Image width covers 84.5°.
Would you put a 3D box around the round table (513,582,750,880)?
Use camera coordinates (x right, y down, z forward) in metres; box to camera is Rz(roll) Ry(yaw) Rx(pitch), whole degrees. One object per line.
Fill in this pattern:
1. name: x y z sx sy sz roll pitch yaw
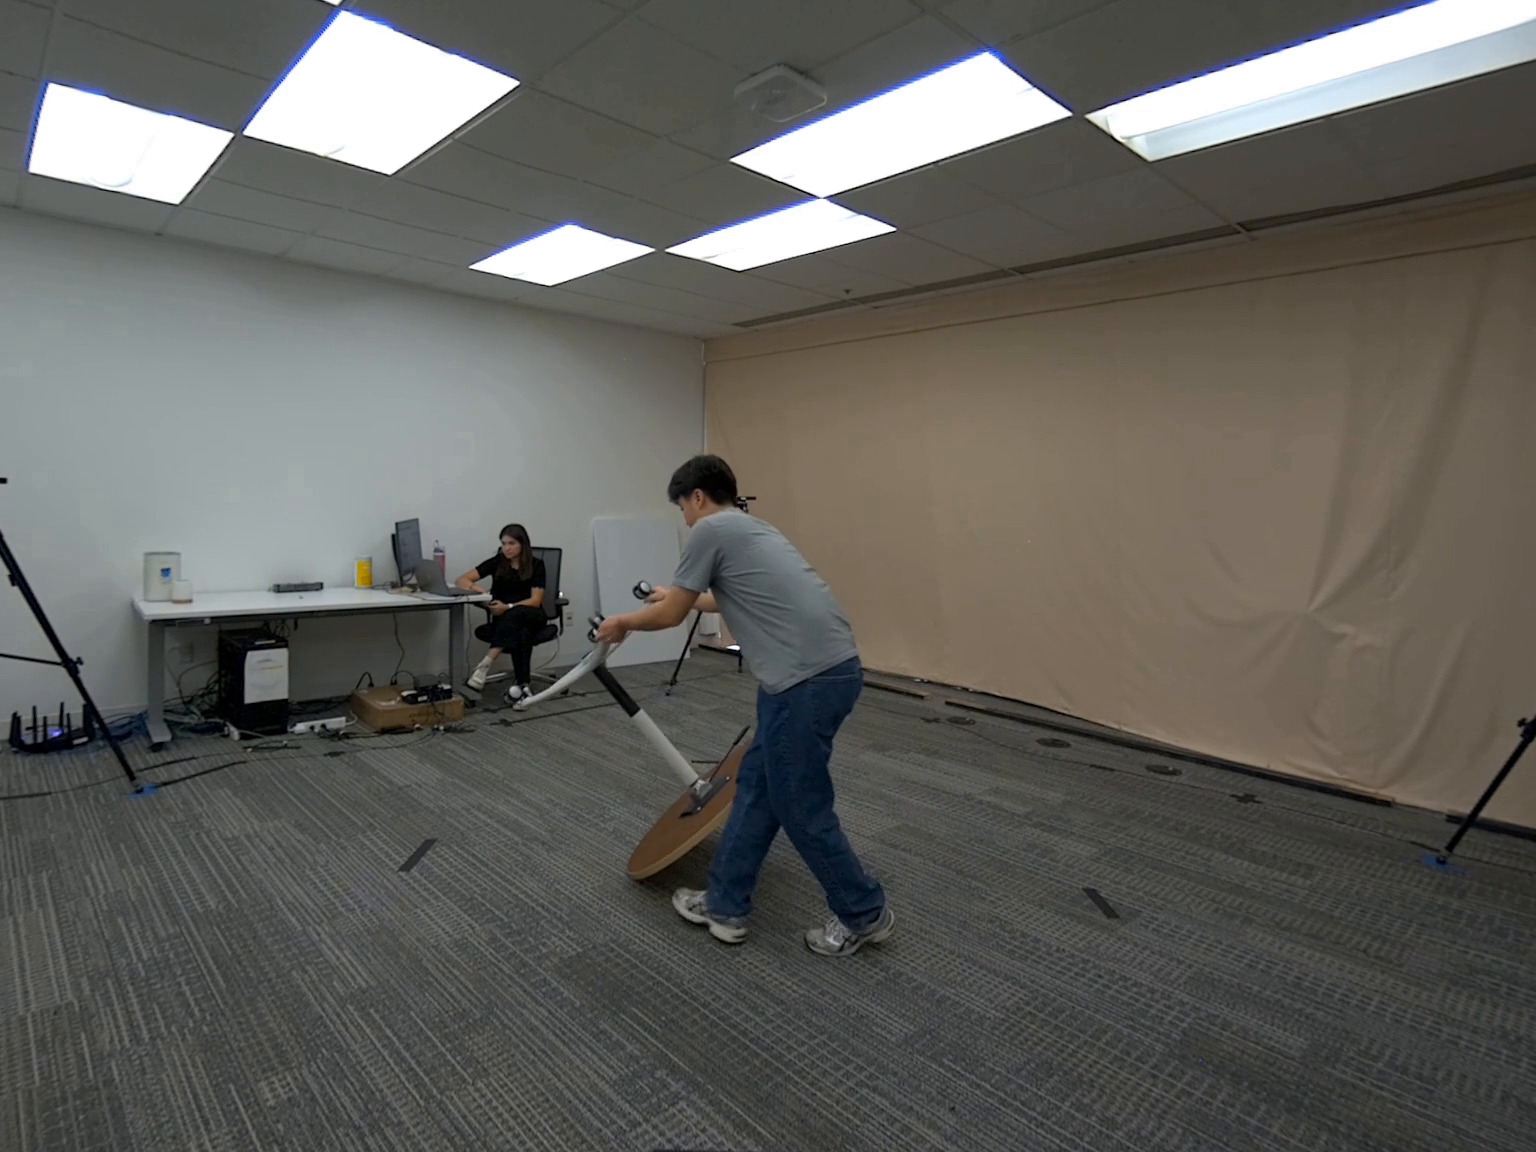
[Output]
1. round table: -0.476 0.543 3.159 0.764 0.793 0.765 -41 1 0
